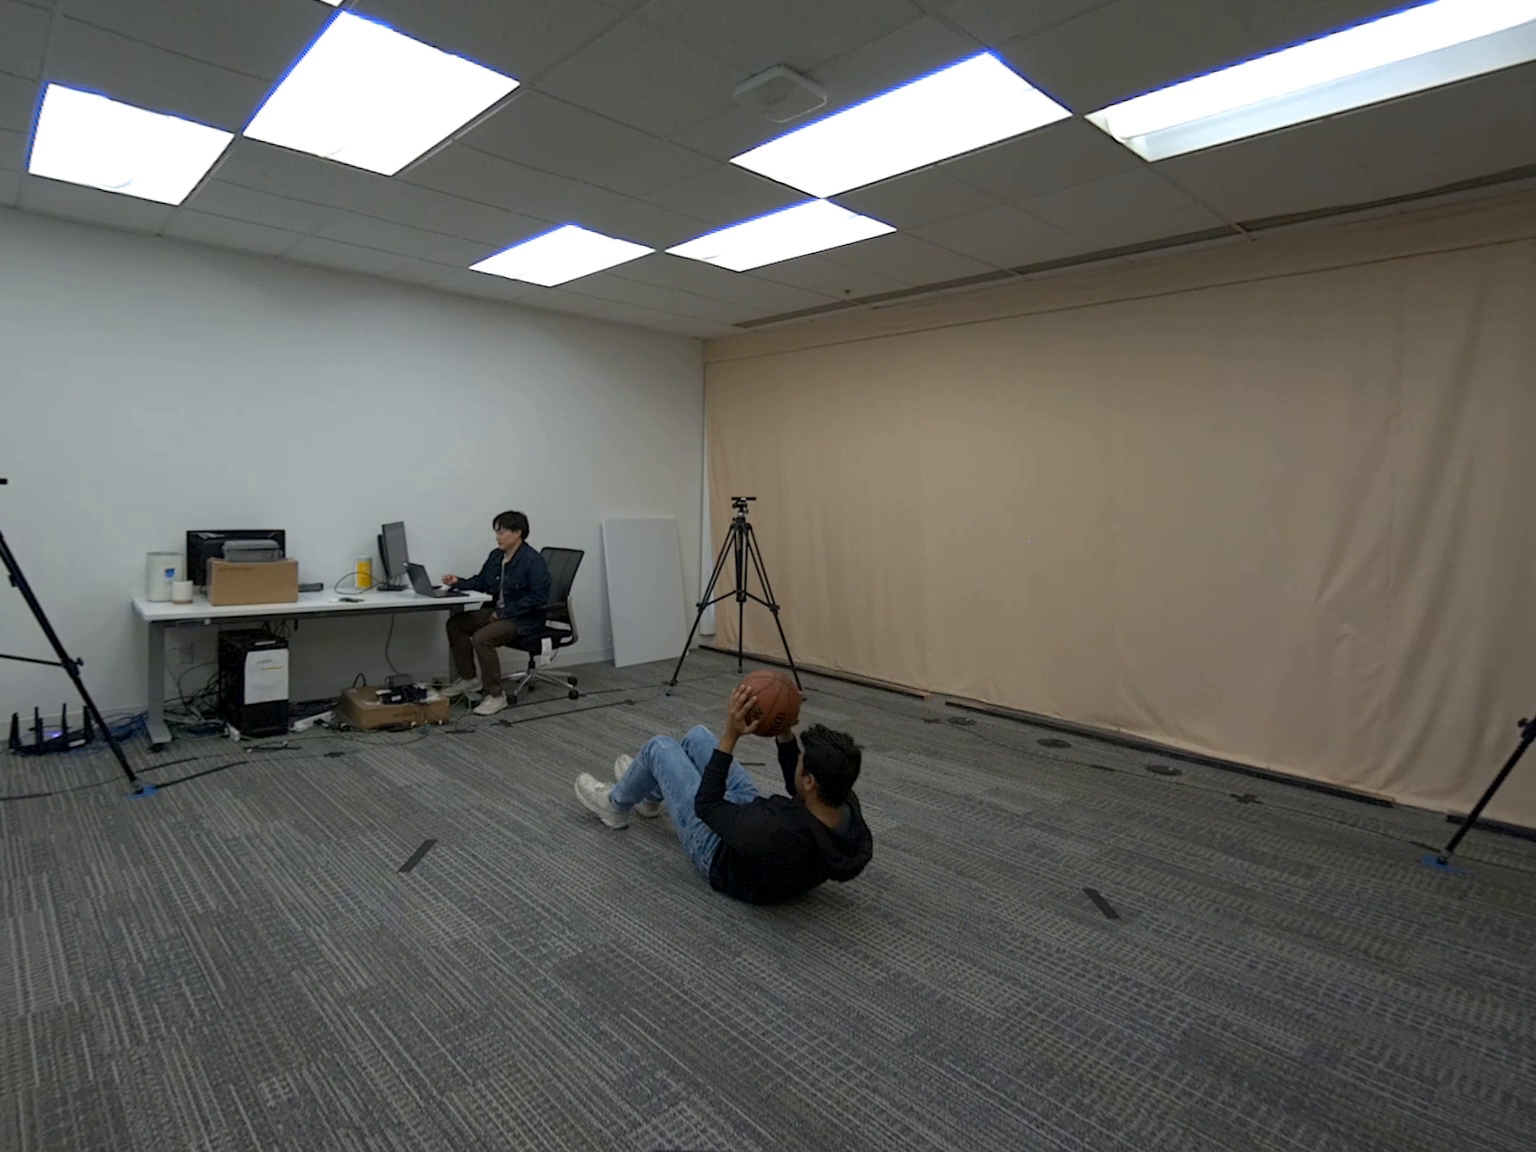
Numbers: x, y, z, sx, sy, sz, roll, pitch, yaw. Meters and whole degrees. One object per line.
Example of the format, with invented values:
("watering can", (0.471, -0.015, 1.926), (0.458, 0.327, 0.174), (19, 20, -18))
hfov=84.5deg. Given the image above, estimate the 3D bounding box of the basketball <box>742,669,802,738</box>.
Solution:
("basketball", (0.004, 0.456, 2.963), (0.236, 0.235, 0.237), (1, 4, -1))
